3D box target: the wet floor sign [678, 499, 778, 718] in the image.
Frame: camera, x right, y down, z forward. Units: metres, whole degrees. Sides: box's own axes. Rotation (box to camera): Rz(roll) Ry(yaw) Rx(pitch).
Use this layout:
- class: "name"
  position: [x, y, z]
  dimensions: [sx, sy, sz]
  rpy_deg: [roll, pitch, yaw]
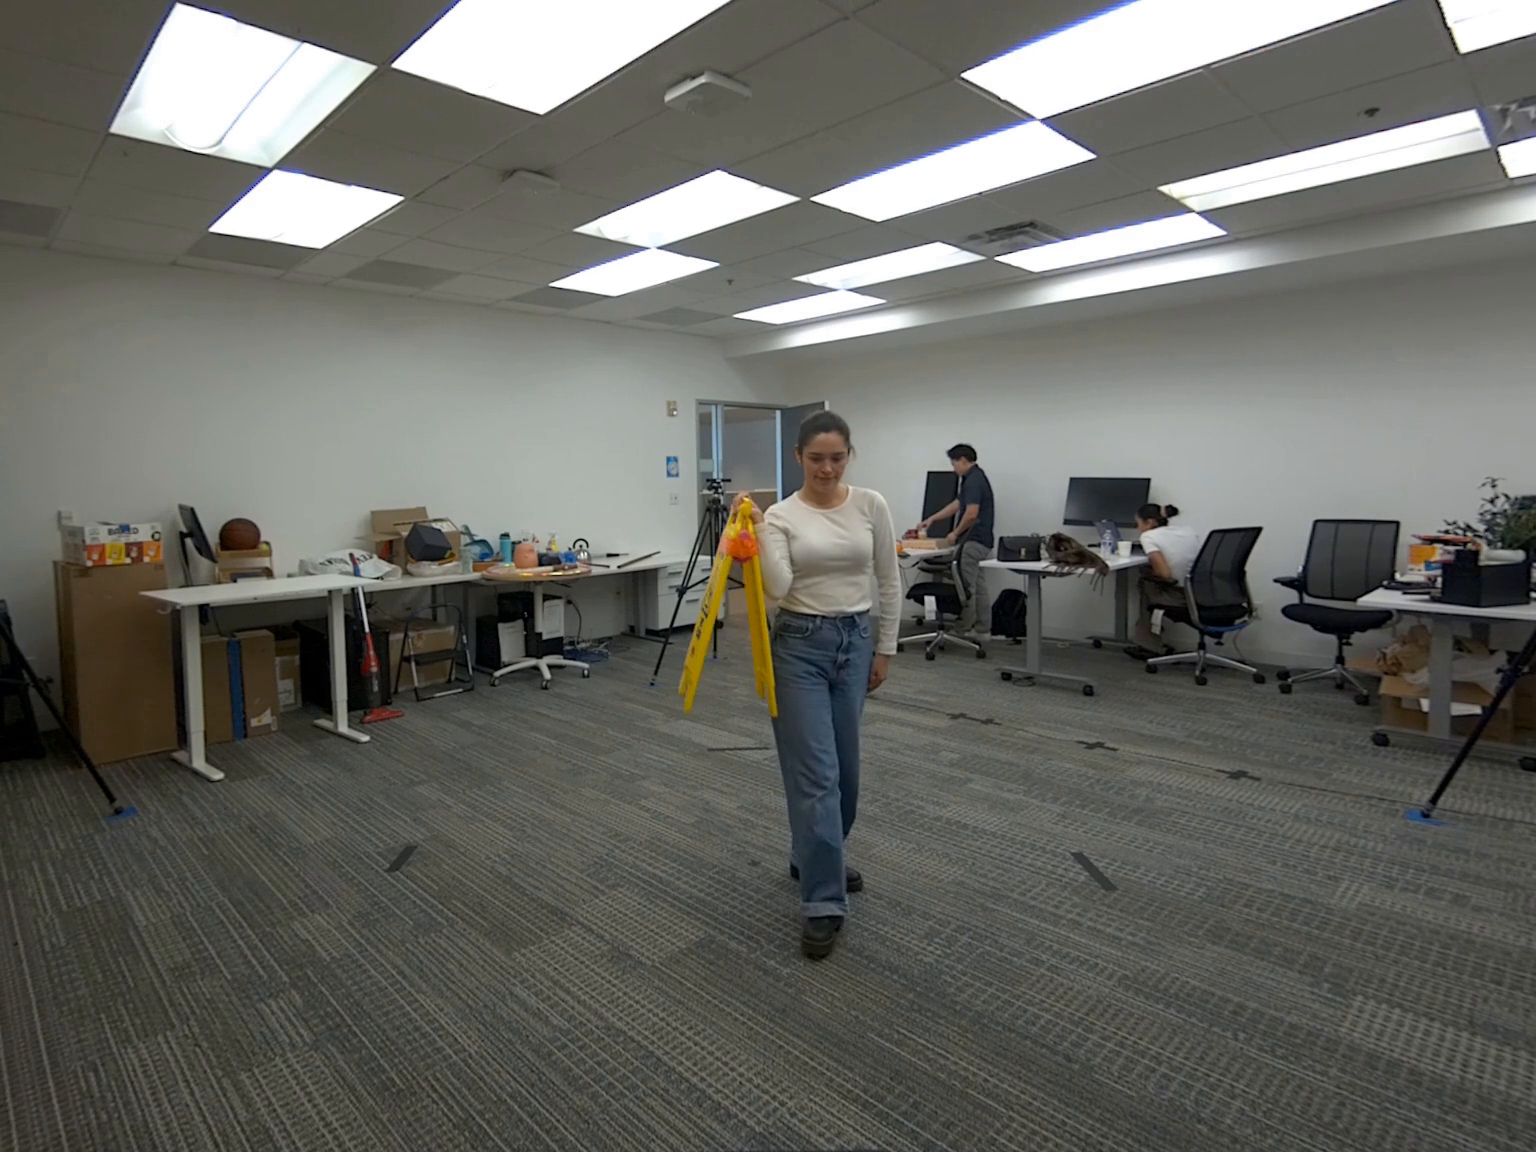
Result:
- class: "wet floor sign"
  position: [-0.101, 0.077, 2.650]
  dimensions: [0.287, 0.644, 0.286]
  rpy_deg: [4, 4, -11]
